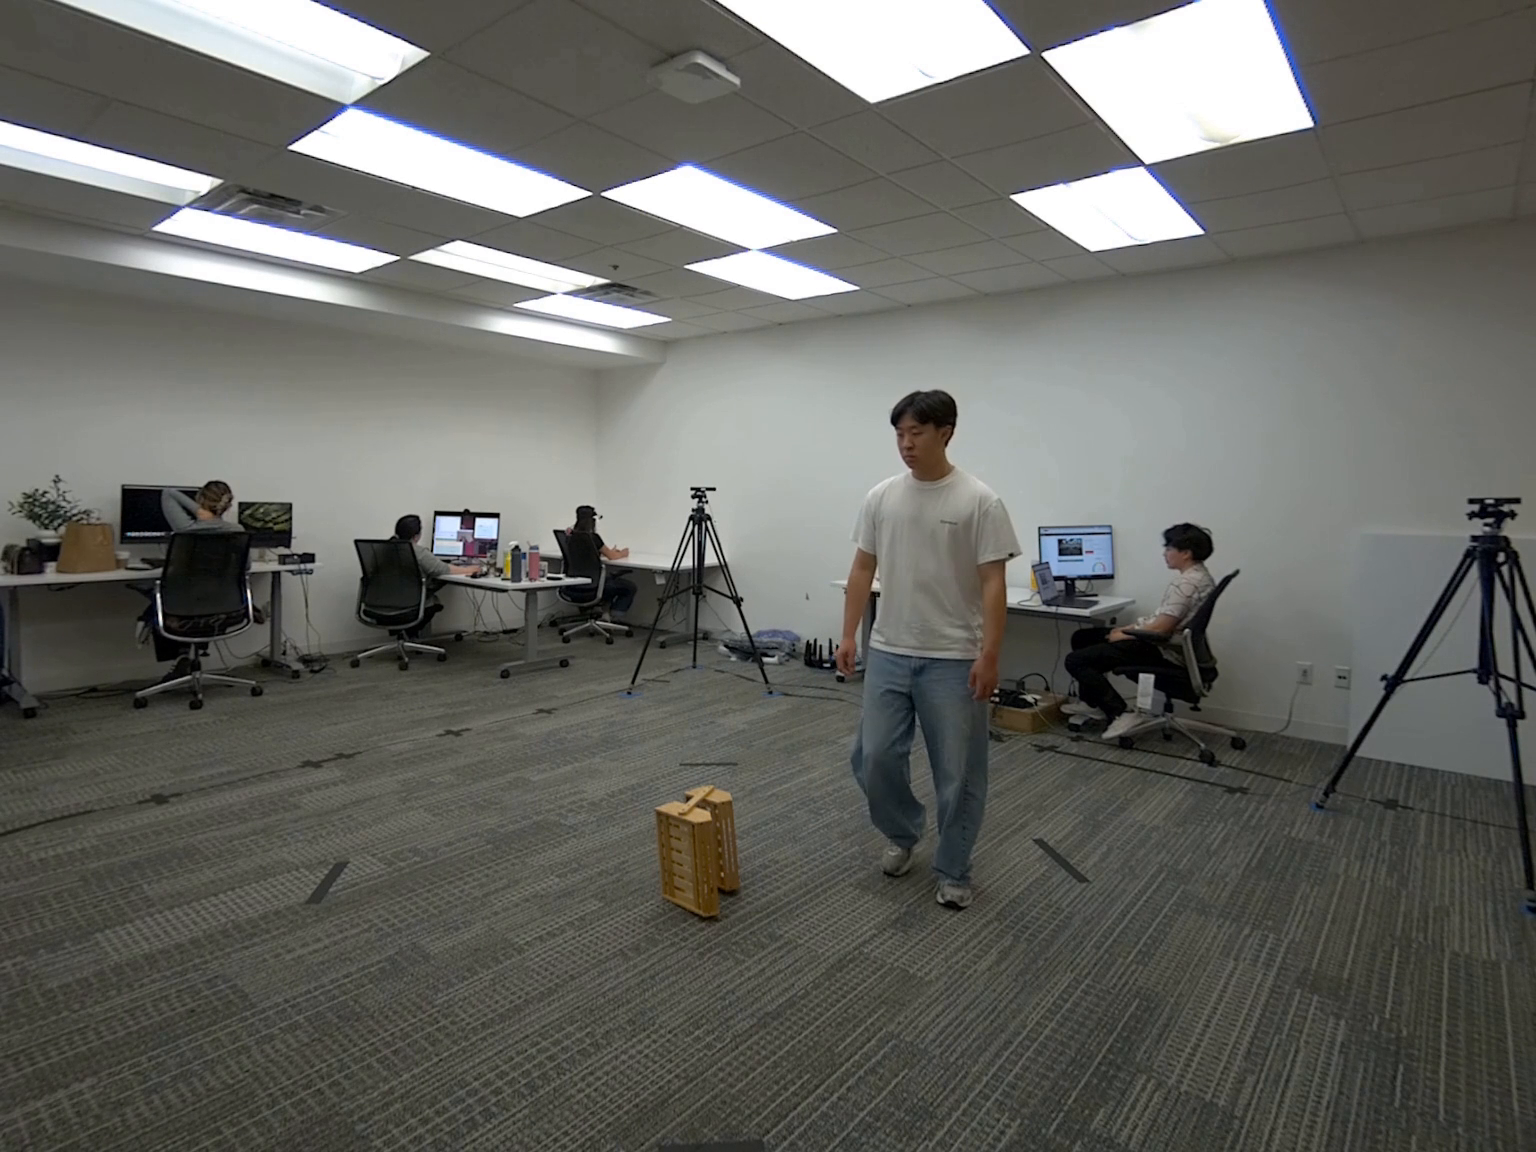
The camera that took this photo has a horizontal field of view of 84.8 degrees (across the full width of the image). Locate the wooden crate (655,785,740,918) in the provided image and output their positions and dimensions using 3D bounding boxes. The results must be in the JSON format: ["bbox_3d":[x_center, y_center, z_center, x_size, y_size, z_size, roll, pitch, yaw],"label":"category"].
[{"bbox_3d":[-0.218,0.917,2.901,0.266,0.324,0.311,-8,3,-44],"label":"wooden crate"}]
